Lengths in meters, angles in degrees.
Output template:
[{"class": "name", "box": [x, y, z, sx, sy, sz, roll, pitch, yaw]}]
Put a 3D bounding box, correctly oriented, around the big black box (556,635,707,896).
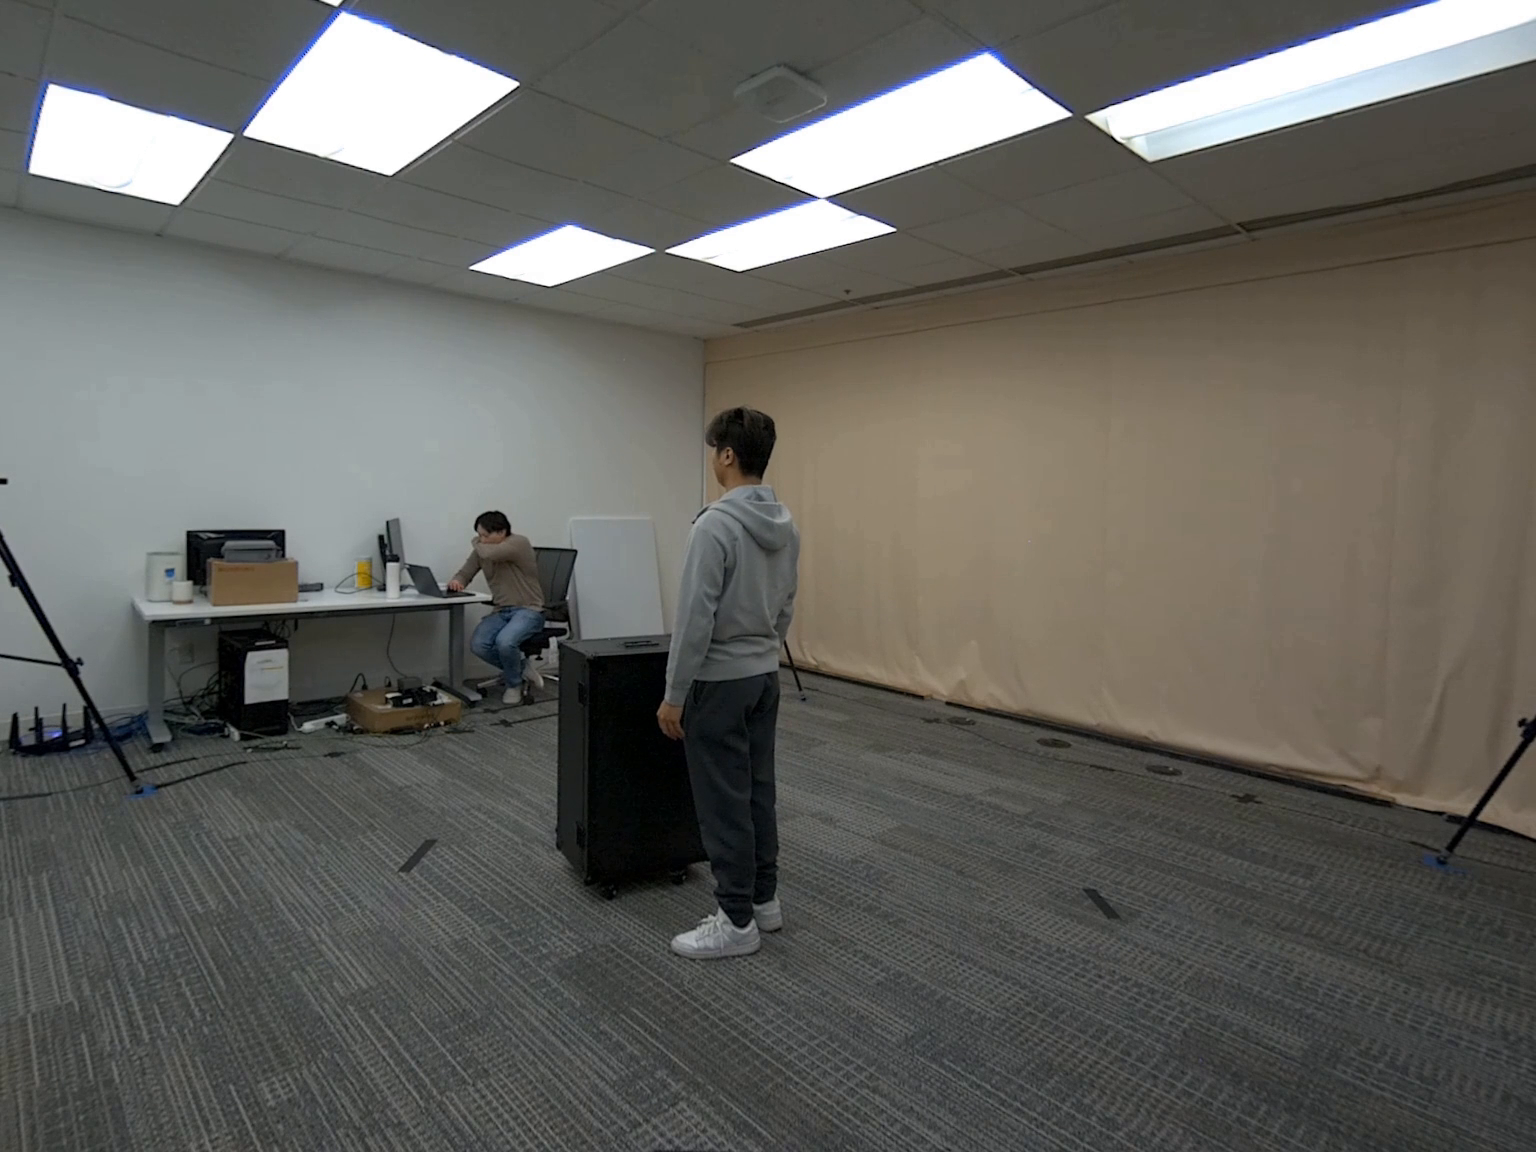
[{"class": "big black box", "box": [-0.509, 0.676, 3.109, 0.511, 0.860, 0.404, -1, 2, -29]}]
